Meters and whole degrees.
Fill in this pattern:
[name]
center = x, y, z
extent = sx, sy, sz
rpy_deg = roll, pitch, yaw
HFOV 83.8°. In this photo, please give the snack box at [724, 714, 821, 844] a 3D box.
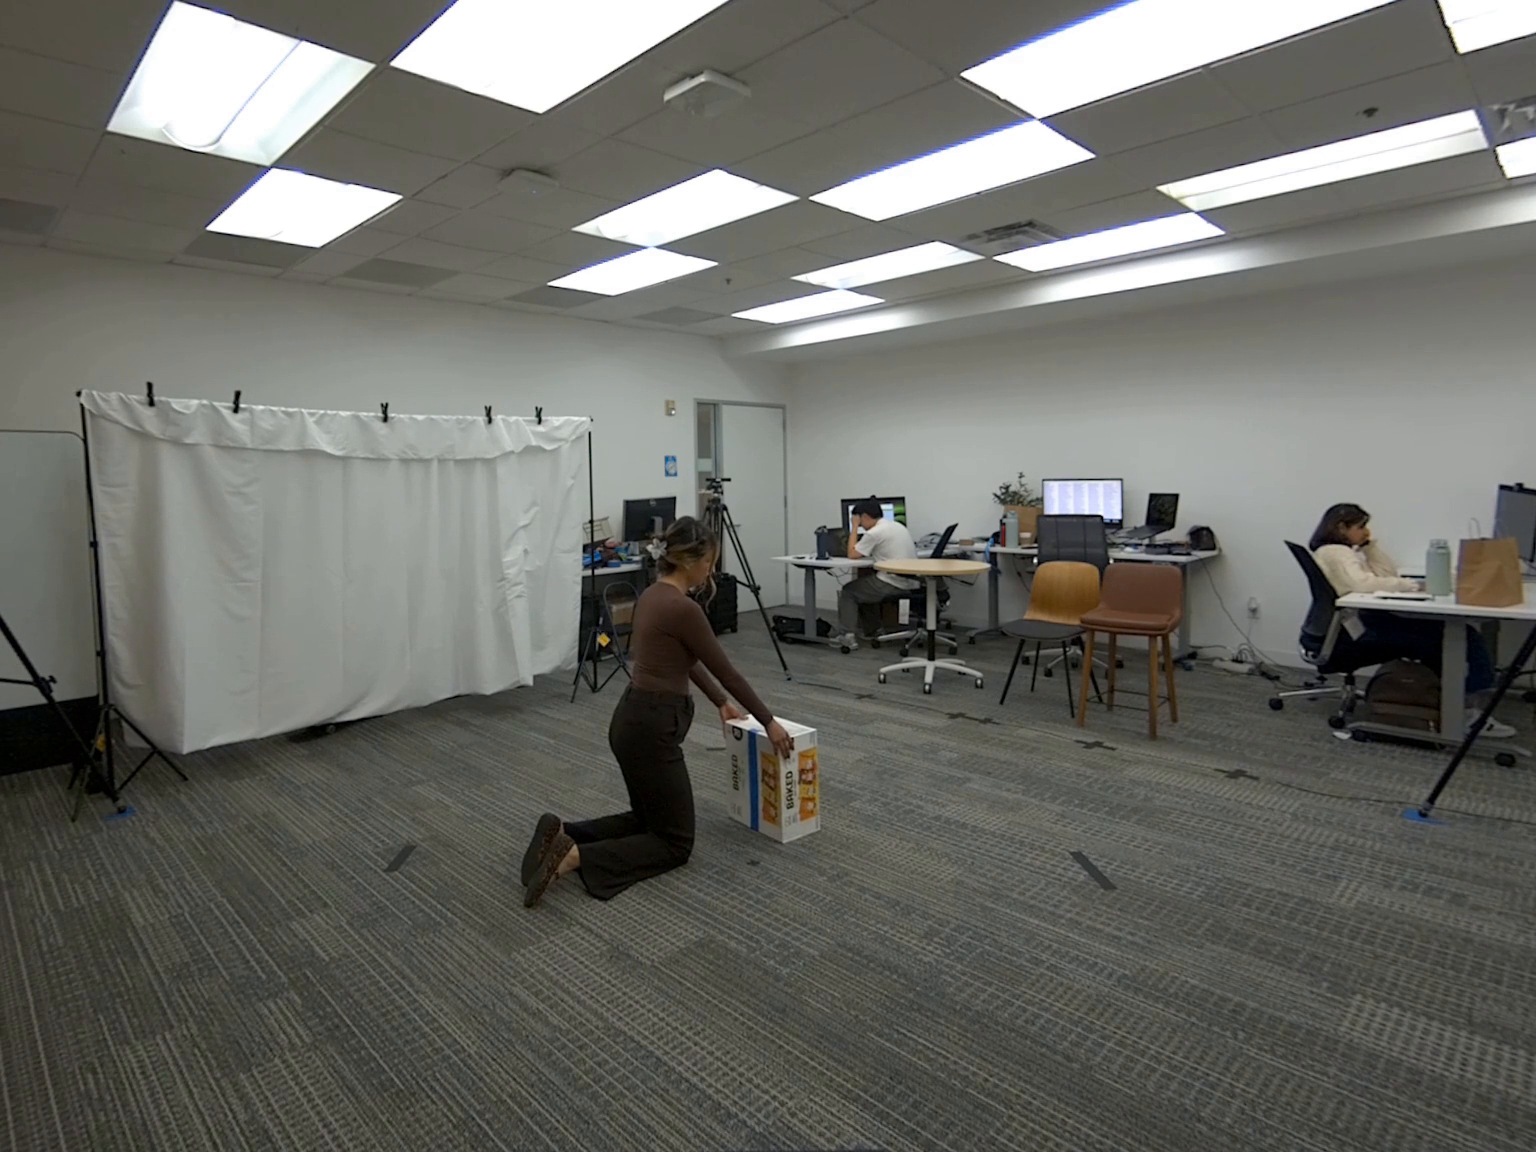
[snack box]
center = 0.014, 0.797, 3.442
extent = 0.200, 0.403, 0.351
rpy_deg = -5, 6, -39
